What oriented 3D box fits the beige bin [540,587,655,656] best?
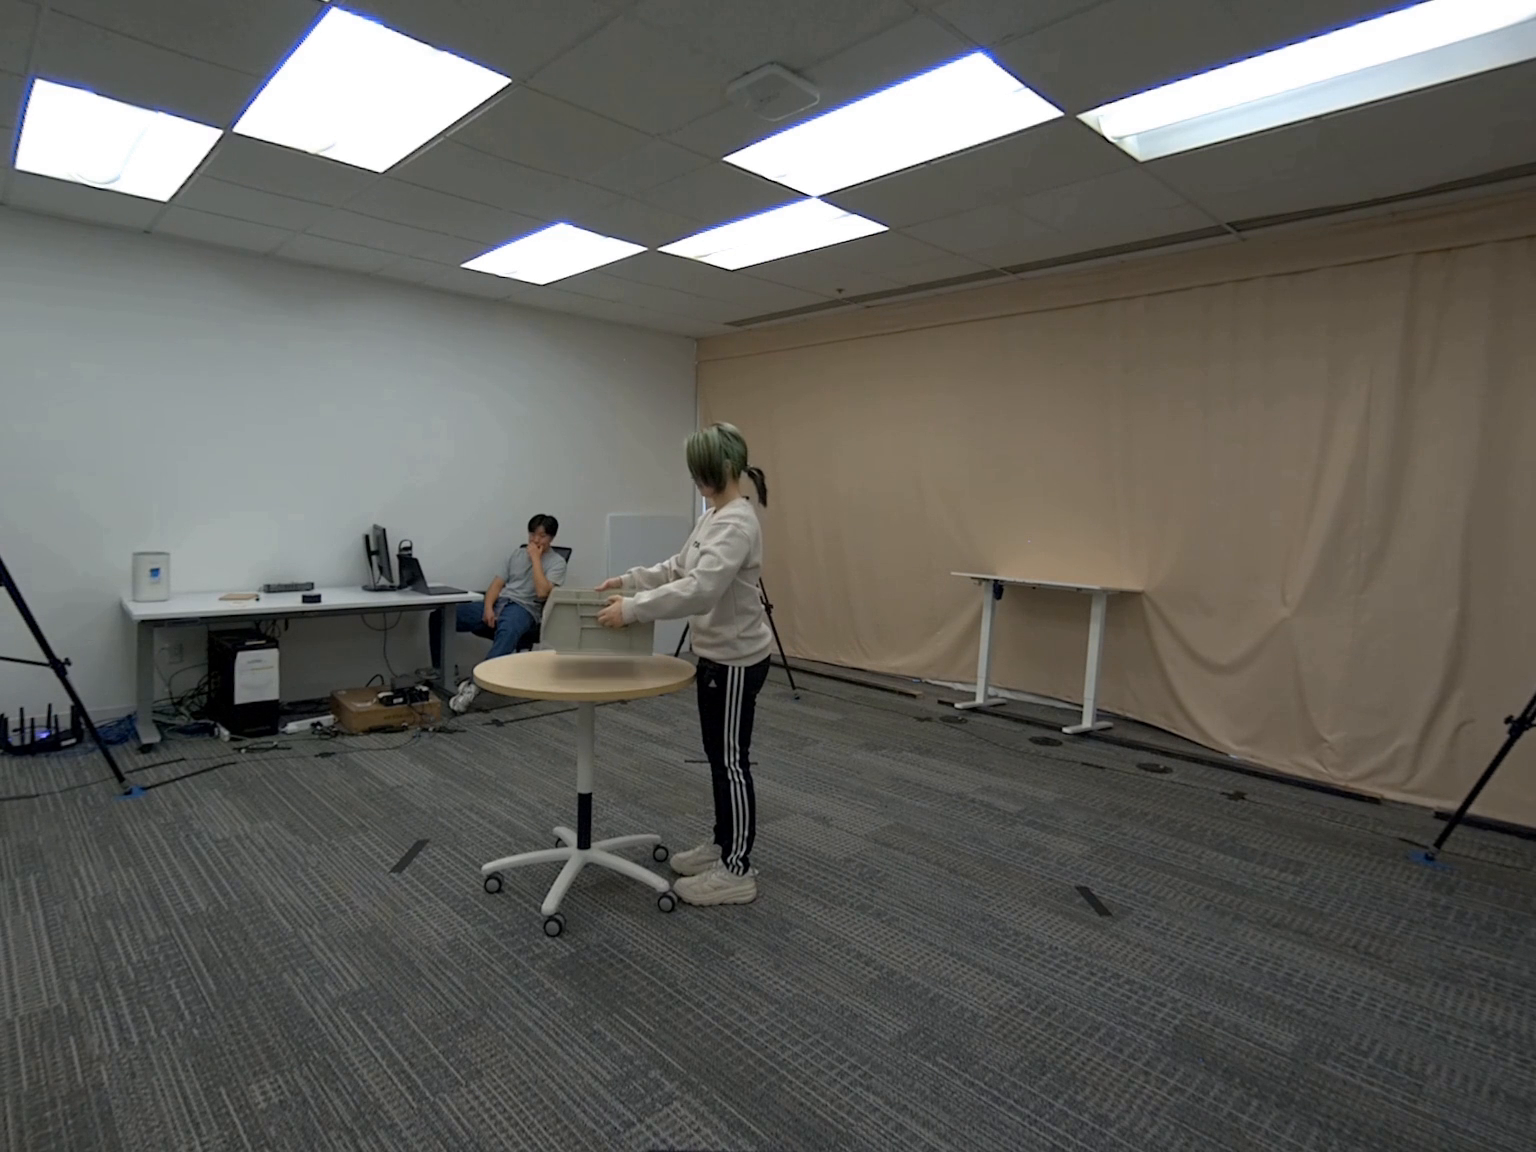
[{"bbox_3d":[-0.598,0.151,2.928,0.373,0.188,0.428,2,5,-13],"label":"beige bin"}]
